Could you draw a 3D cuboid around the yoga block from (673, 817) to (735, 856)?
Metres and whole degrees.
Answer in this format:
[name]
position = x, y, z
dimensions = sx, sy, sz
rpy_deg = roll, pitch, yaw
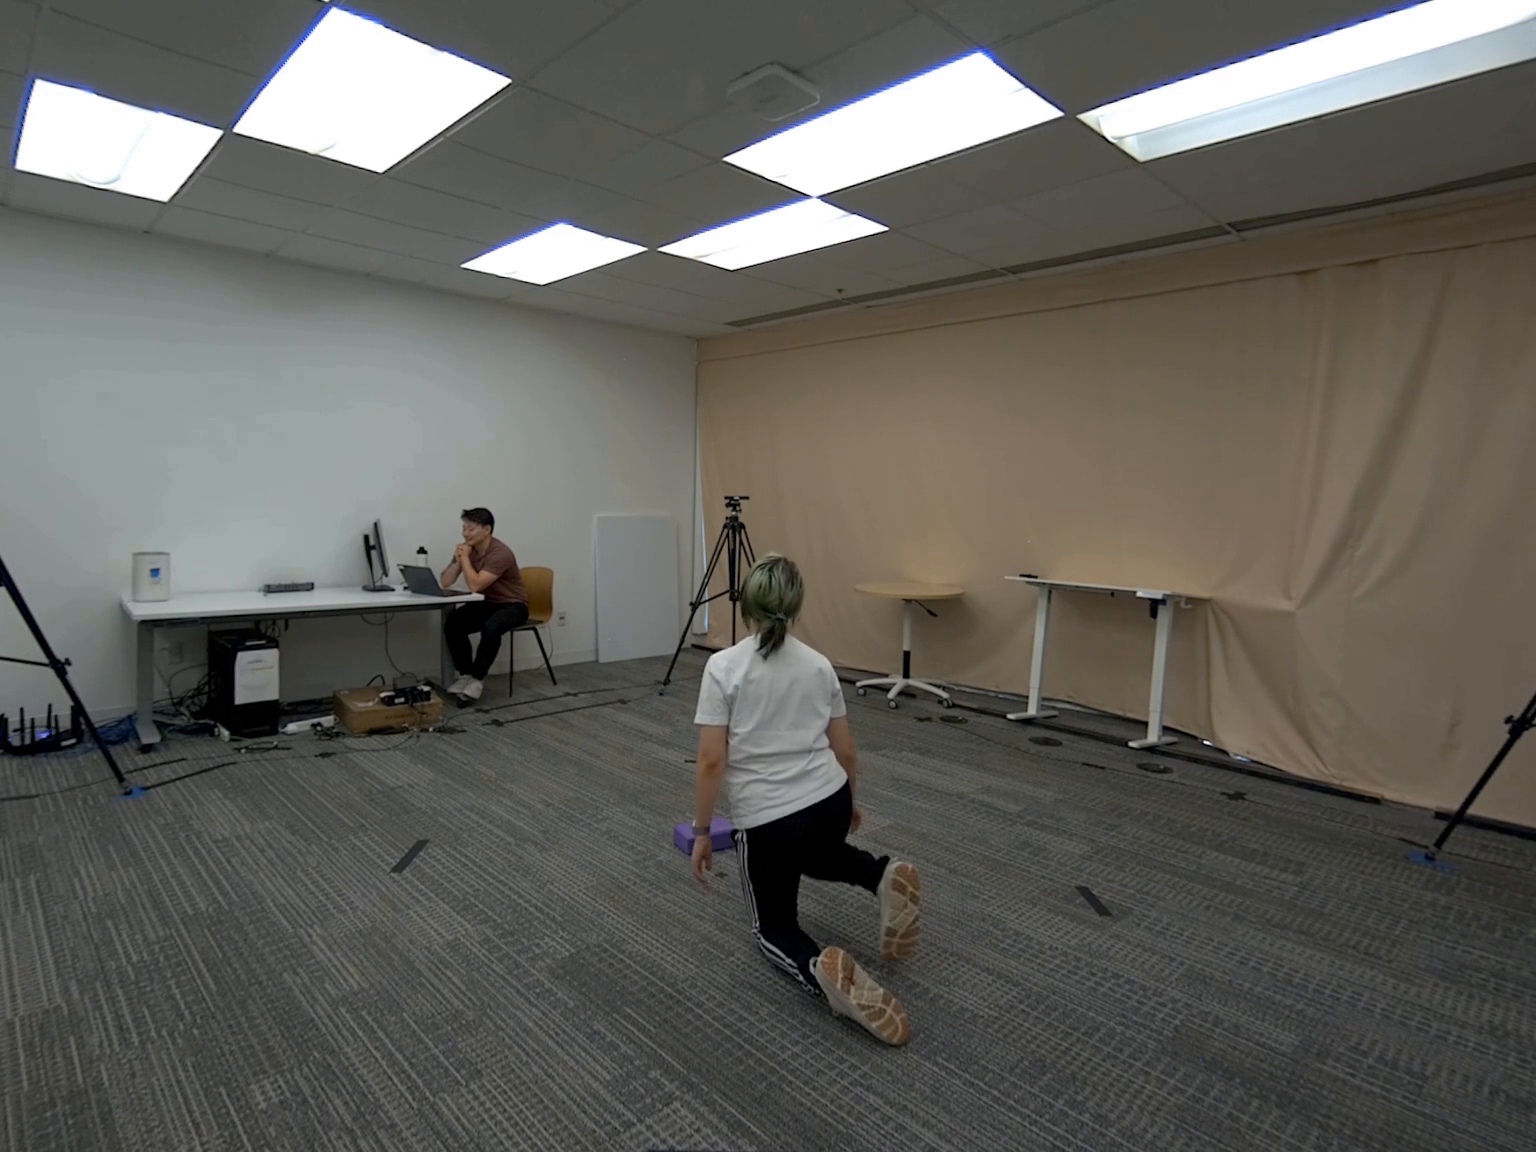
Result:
[yoga block]
position = -0.252, 1.037, 3.364
dimensions = 0.225, 0.076, 0.152
rpy_deg = -3, 6, -30
